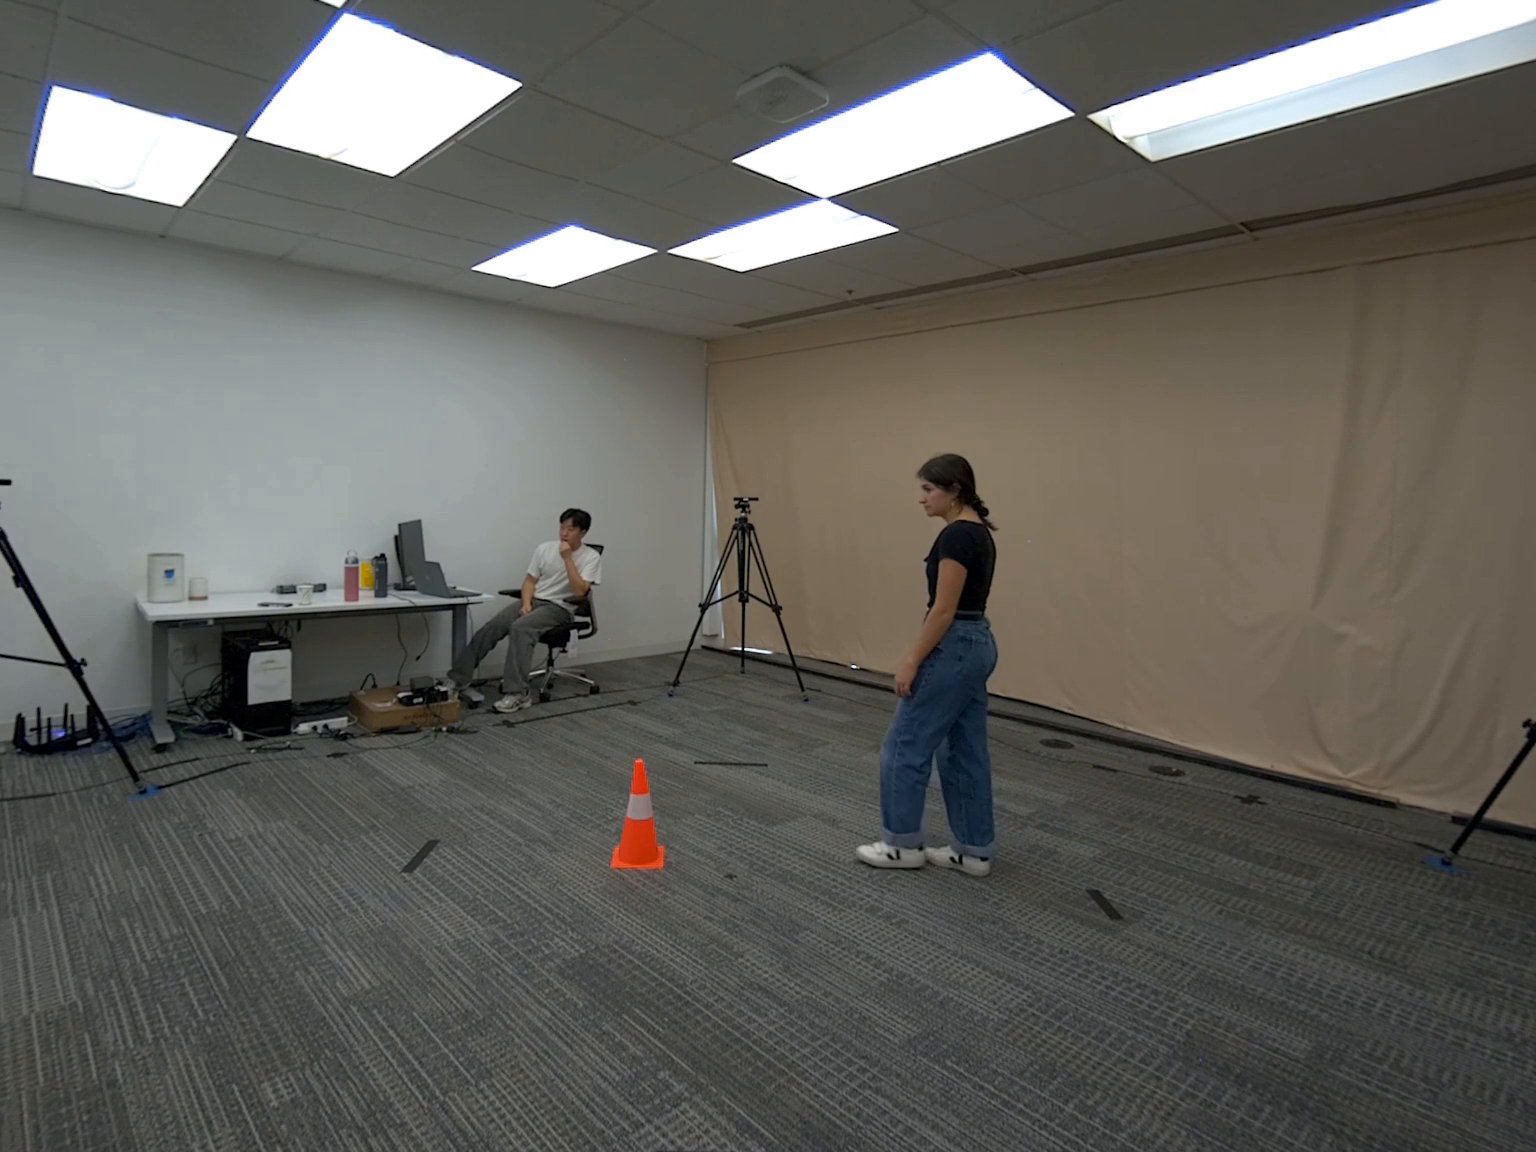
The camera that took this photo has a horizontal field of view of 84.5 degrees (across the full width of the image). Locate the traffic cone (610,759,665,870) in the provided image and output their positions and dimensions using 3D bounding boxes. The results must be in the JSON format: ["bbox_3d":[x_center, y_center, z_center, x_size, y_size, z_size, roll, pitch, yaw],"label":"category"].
[{"bbox_3d":[-0.493,0.901,3.236,0.204,0.382,0.205,3,4,-6],"label":"traffic cone"}]
